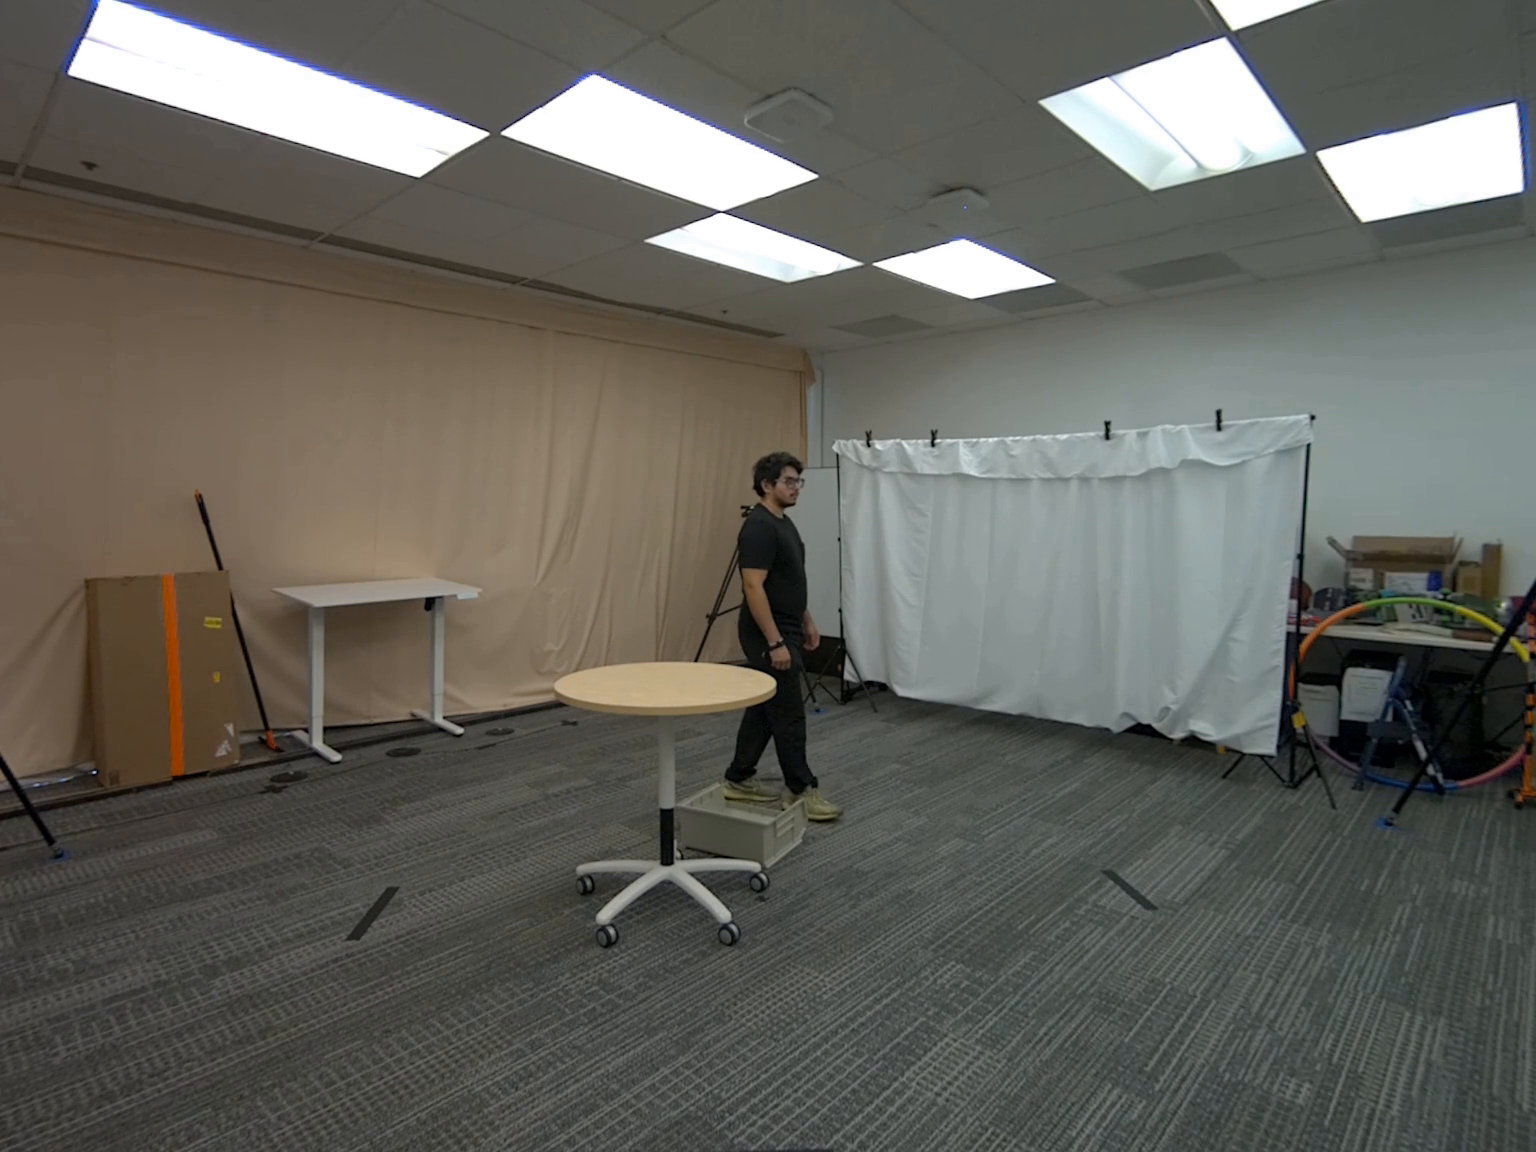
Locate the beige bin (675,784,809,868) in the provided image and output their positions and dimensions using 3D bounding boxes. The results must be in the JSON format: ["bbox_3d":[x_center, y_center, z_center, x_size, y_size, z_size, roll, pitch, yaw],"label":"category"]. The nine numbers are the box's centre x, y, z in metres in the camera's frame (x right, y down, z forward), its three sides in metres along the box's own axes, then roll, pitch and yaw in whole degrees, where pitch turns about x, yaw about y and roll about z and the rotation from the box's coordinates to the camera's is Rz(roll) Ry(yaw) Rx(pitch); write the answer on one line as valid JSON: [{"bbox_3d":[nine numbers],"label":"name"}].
[{"bbox_3d":[-0.104,1.015,3.478,0.434,0.188,0.368,2,6,30],"label":"beige bin"}]
